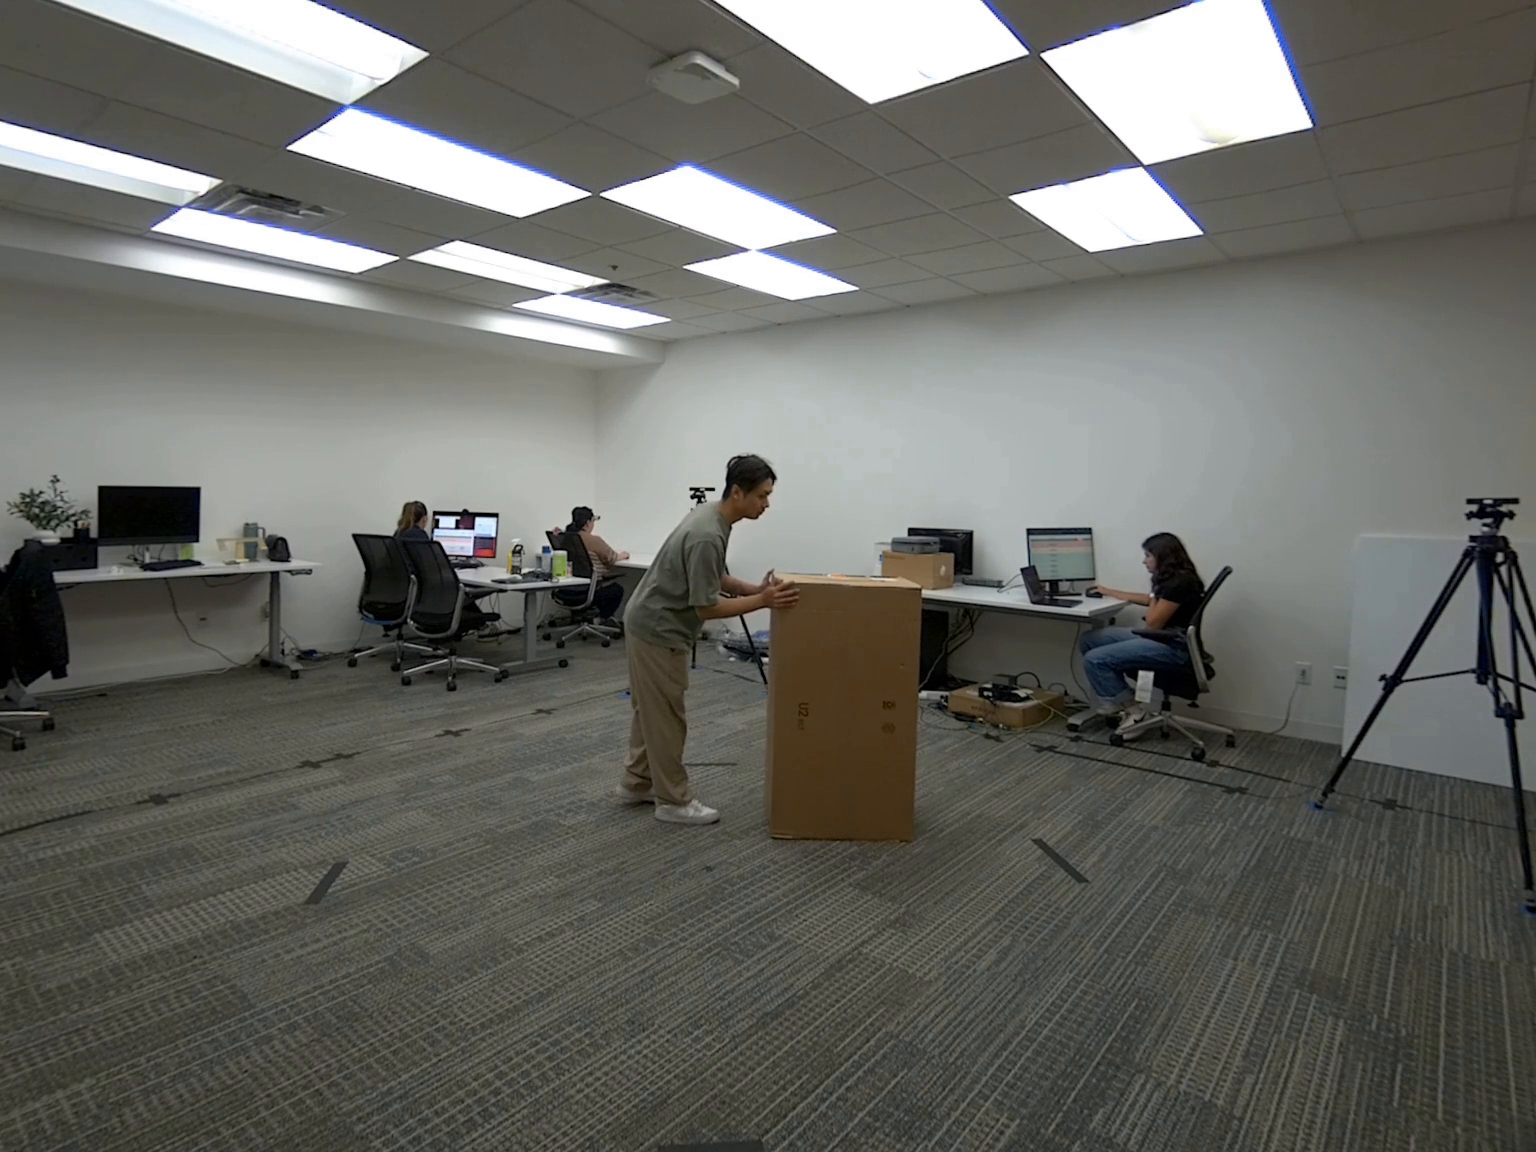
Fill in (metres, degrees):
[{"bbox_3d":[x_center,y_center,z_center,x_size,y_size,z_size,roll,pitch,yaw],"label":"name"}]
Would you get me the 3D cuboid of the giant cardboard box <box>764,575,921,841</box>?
[{"bbox_3d":[0.297,0.524,3.576,0.577,1.023,0.428,1,3,-1],"label":"giant cardboard box"}]
